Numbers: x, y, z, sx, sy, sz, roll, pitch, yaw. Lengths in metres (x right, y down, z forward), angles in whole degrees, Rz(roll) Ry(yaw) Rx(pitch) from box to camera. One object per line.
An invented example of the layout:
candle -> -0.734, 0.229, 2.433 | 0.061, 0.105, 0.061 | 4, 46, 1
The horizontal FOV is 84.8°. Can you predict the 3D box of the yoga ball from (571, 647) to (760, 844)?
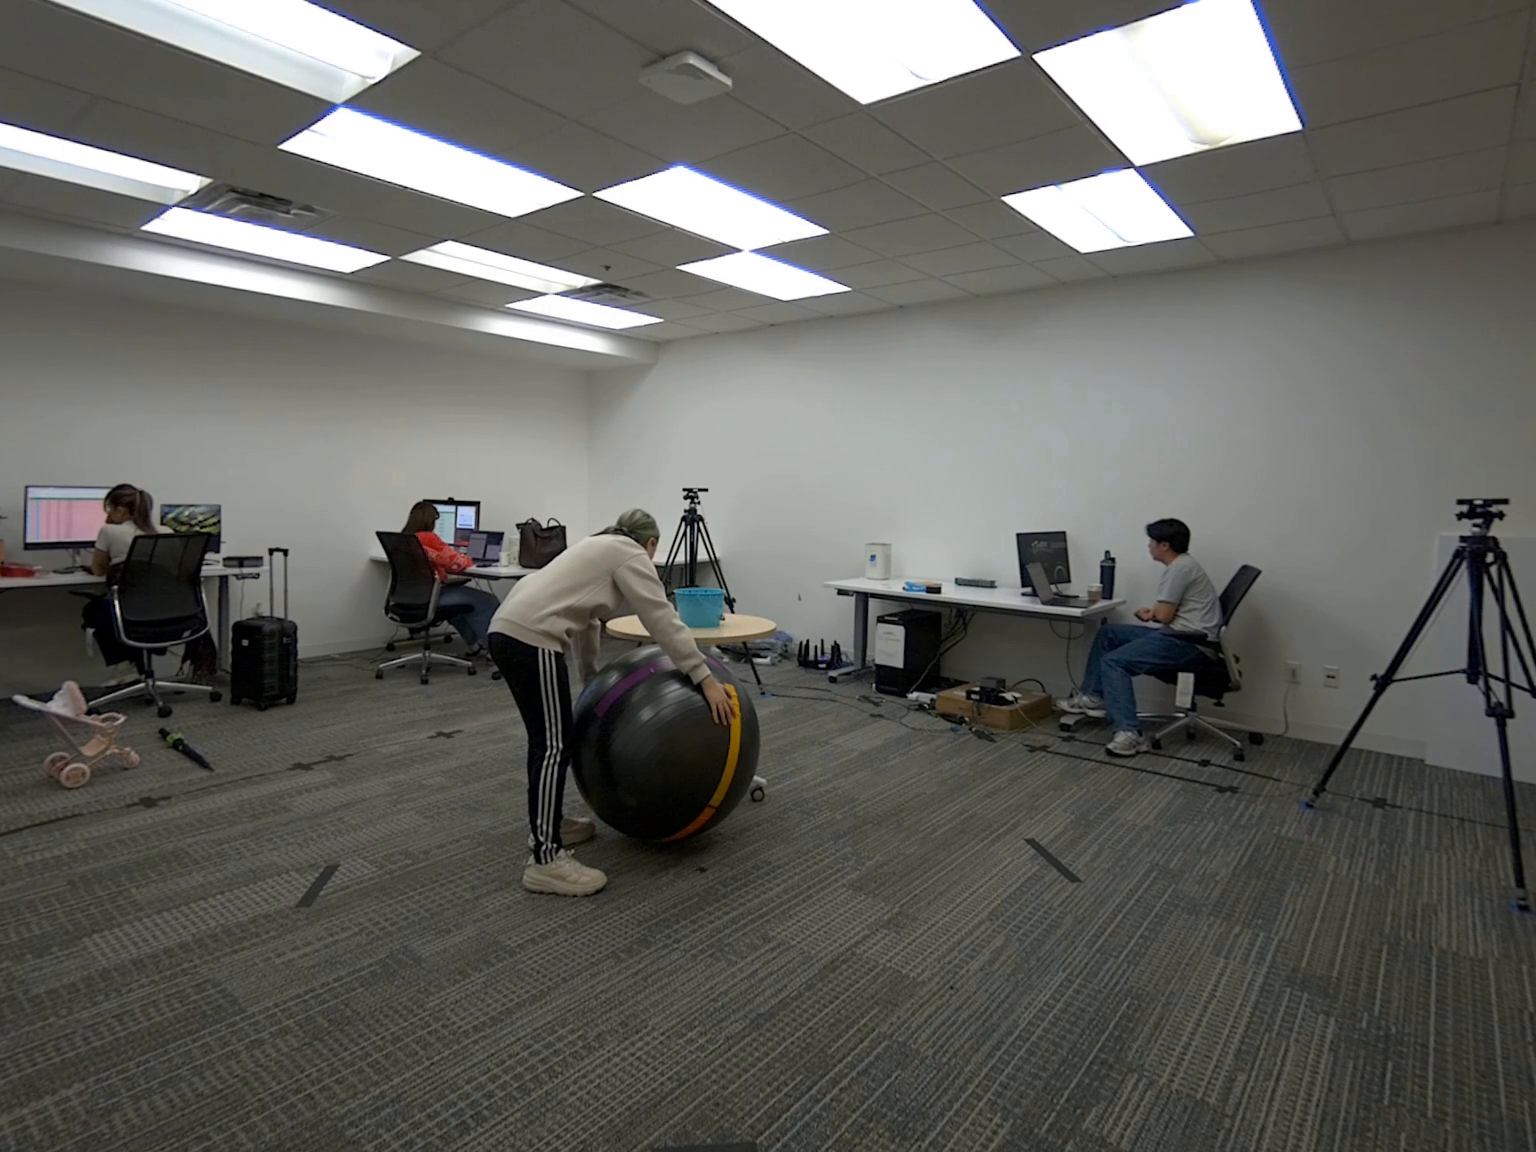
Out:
yoga ball -> -0.418, 0.649, 3.359 | 0.757, 0.756, 0.761 | 1, 4, -2
